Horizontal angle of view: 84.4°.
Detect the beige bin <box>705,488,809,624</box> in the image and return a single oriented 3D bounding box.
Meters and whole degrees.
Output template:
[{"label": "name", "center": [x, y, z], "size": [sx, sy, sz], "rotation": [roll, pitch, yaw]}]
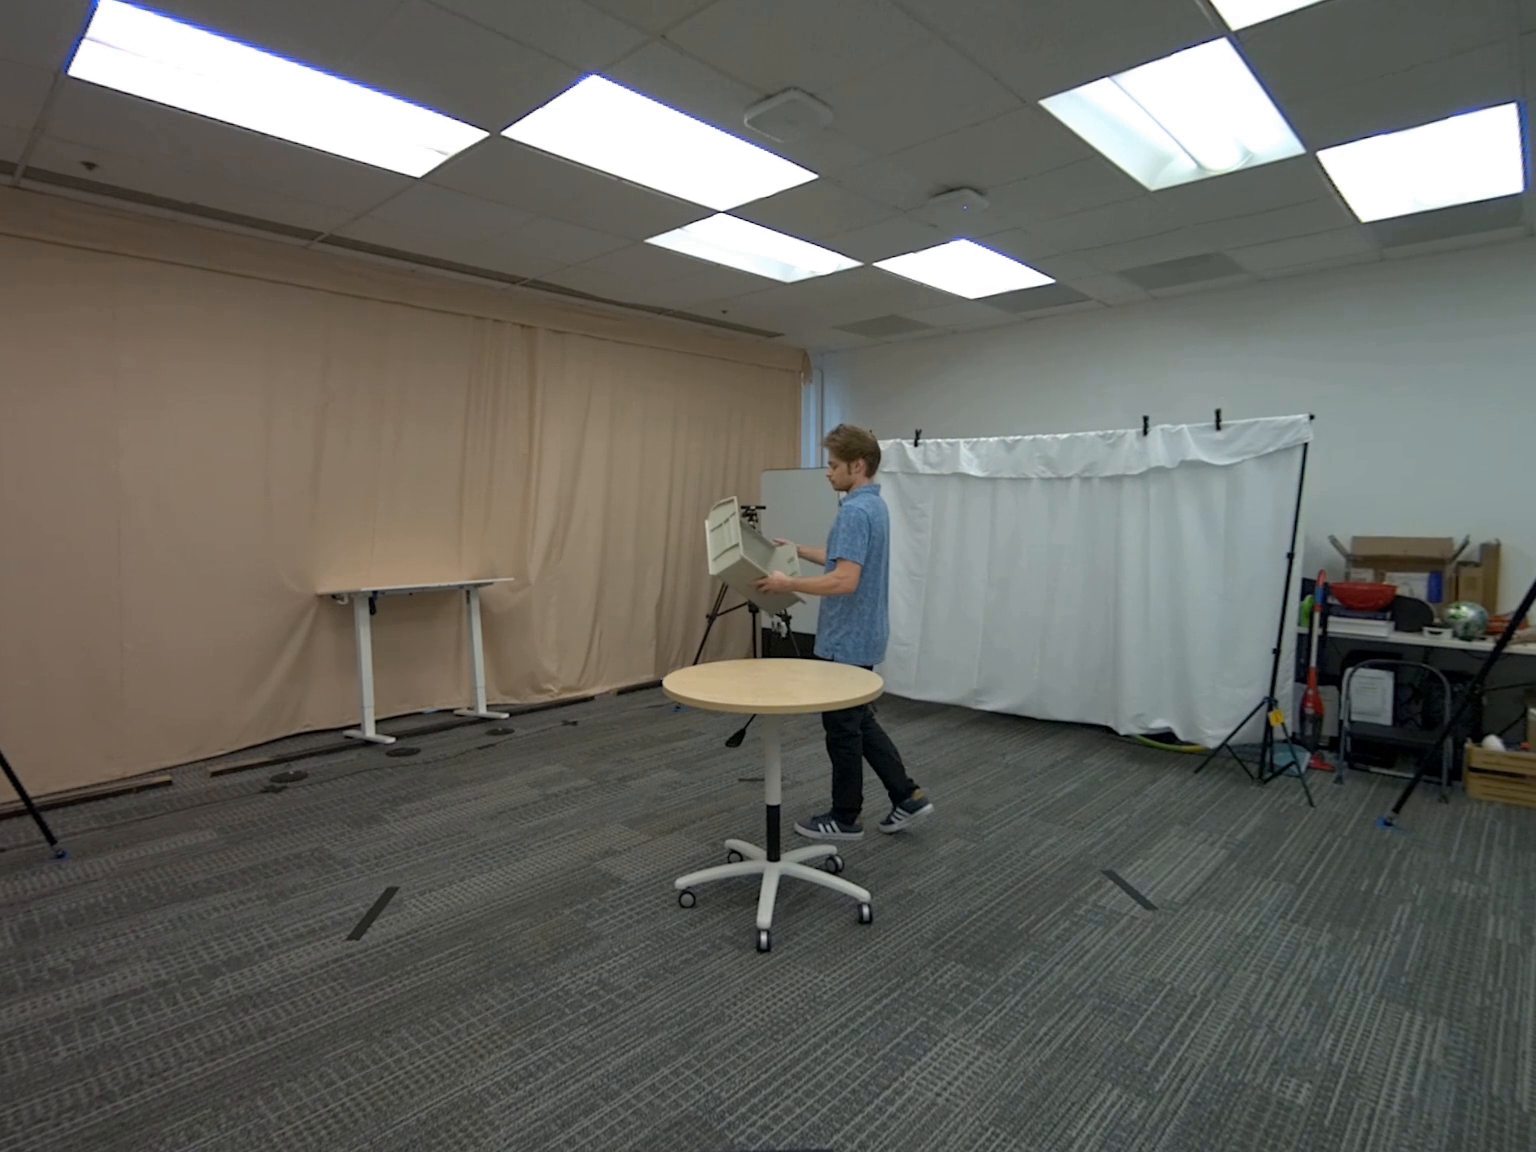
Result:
[{"label": "beige bin", "center": [-0.054, -0.086, 3.607], "size": [0.191, 0.385, 0.408], "rotation": [-32, -49, 25]}]
